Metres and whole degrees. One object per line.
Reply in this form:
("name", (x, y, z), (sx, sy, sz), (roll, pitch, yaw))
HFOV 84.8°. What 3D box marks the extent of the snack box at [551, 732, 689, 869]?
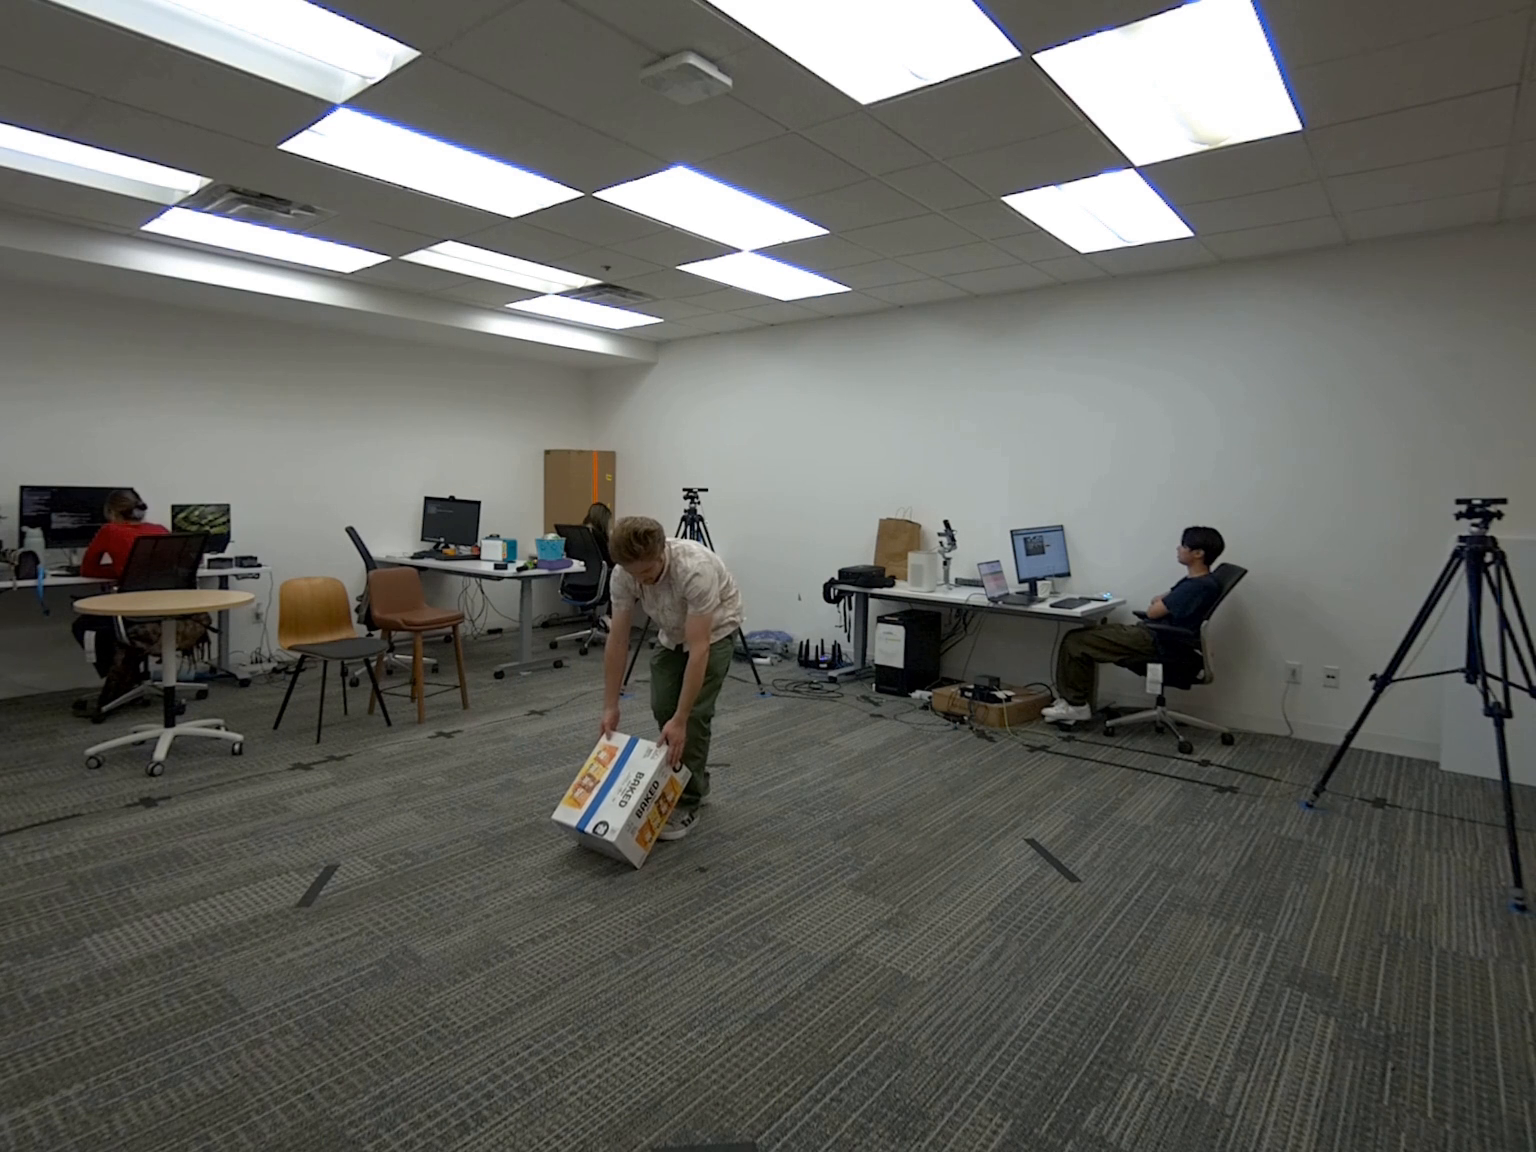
("snack box", (-0.566, 0.841, 3.251), (0.351, 0.408, 0.198), (4, -41, 37))
